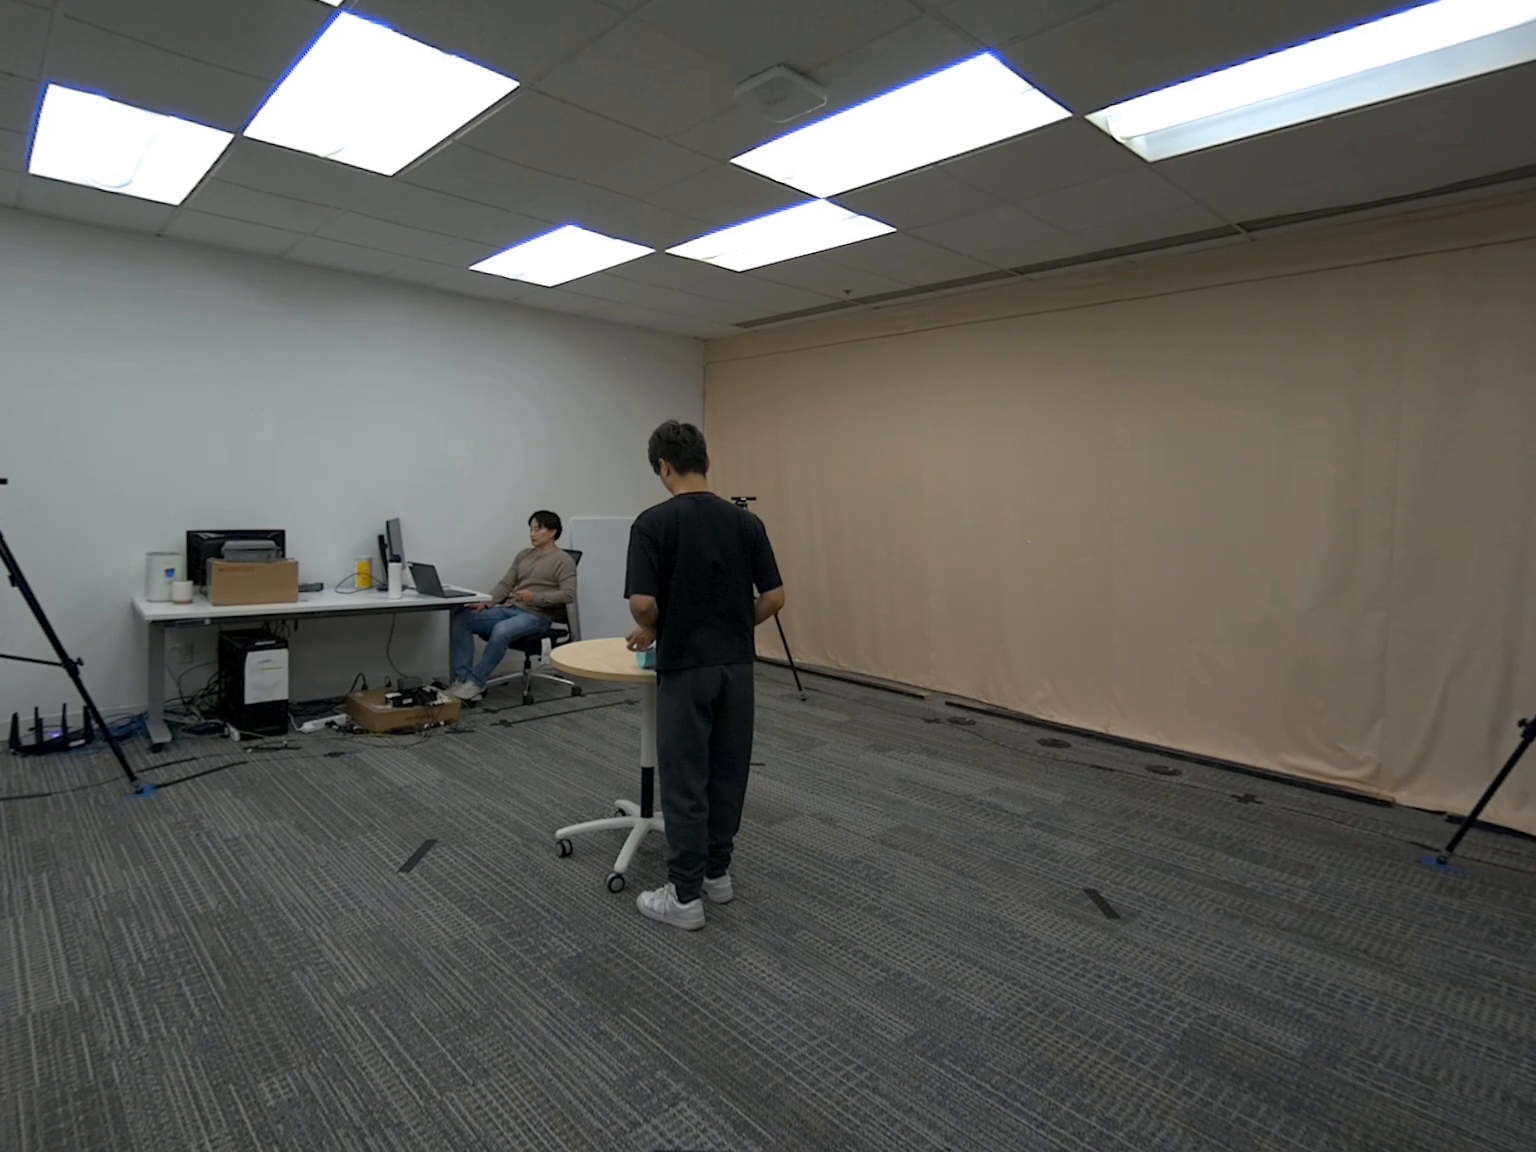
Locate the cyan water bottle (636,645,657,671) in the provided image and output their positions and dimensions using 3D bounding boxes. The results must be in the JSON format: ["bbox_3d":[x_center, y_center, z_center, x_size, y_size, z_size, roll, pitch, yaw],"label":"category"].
[{"bbox_3d":[-0.338,0.283,3.057,0.277,0.092,0.094,-1,5,-32],"label":"cyan water bottle"}]
